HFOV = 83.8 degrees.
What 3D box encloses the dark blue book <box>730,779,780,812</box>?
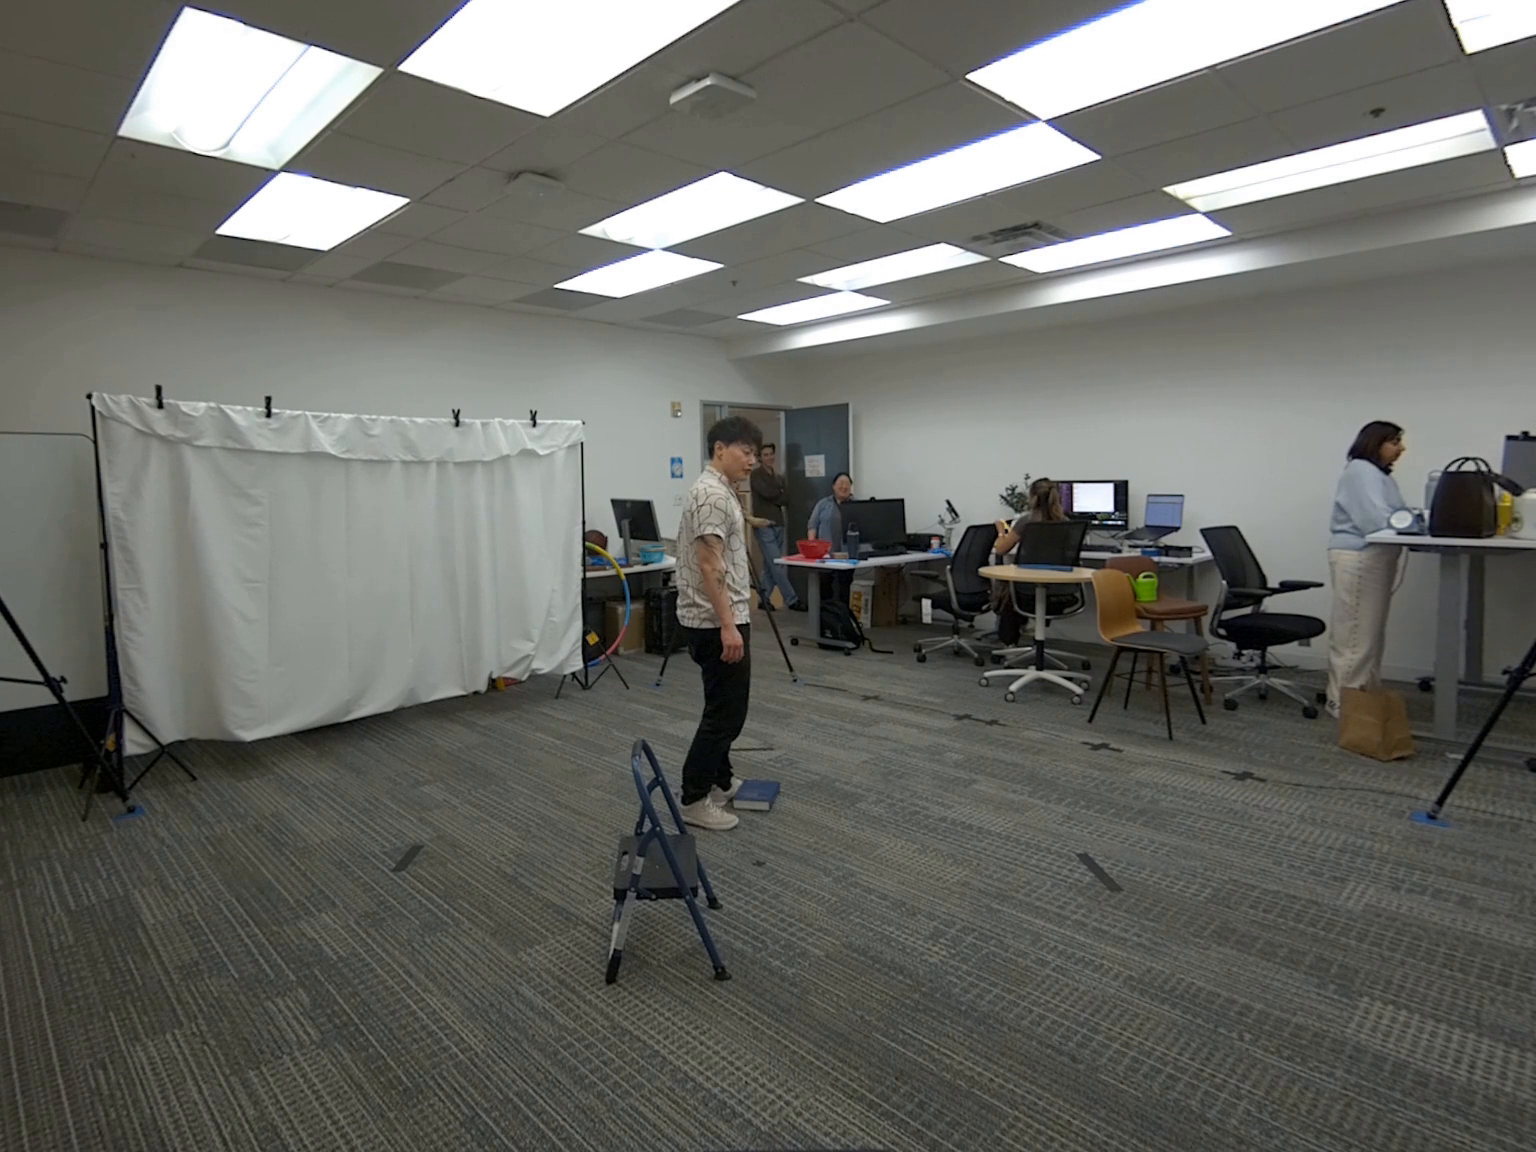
[{"bbox_3d":[-0.049,0.952,3.728,0.165,0.045,0.243,-1,6,12],"label":"dark blue book"}]
